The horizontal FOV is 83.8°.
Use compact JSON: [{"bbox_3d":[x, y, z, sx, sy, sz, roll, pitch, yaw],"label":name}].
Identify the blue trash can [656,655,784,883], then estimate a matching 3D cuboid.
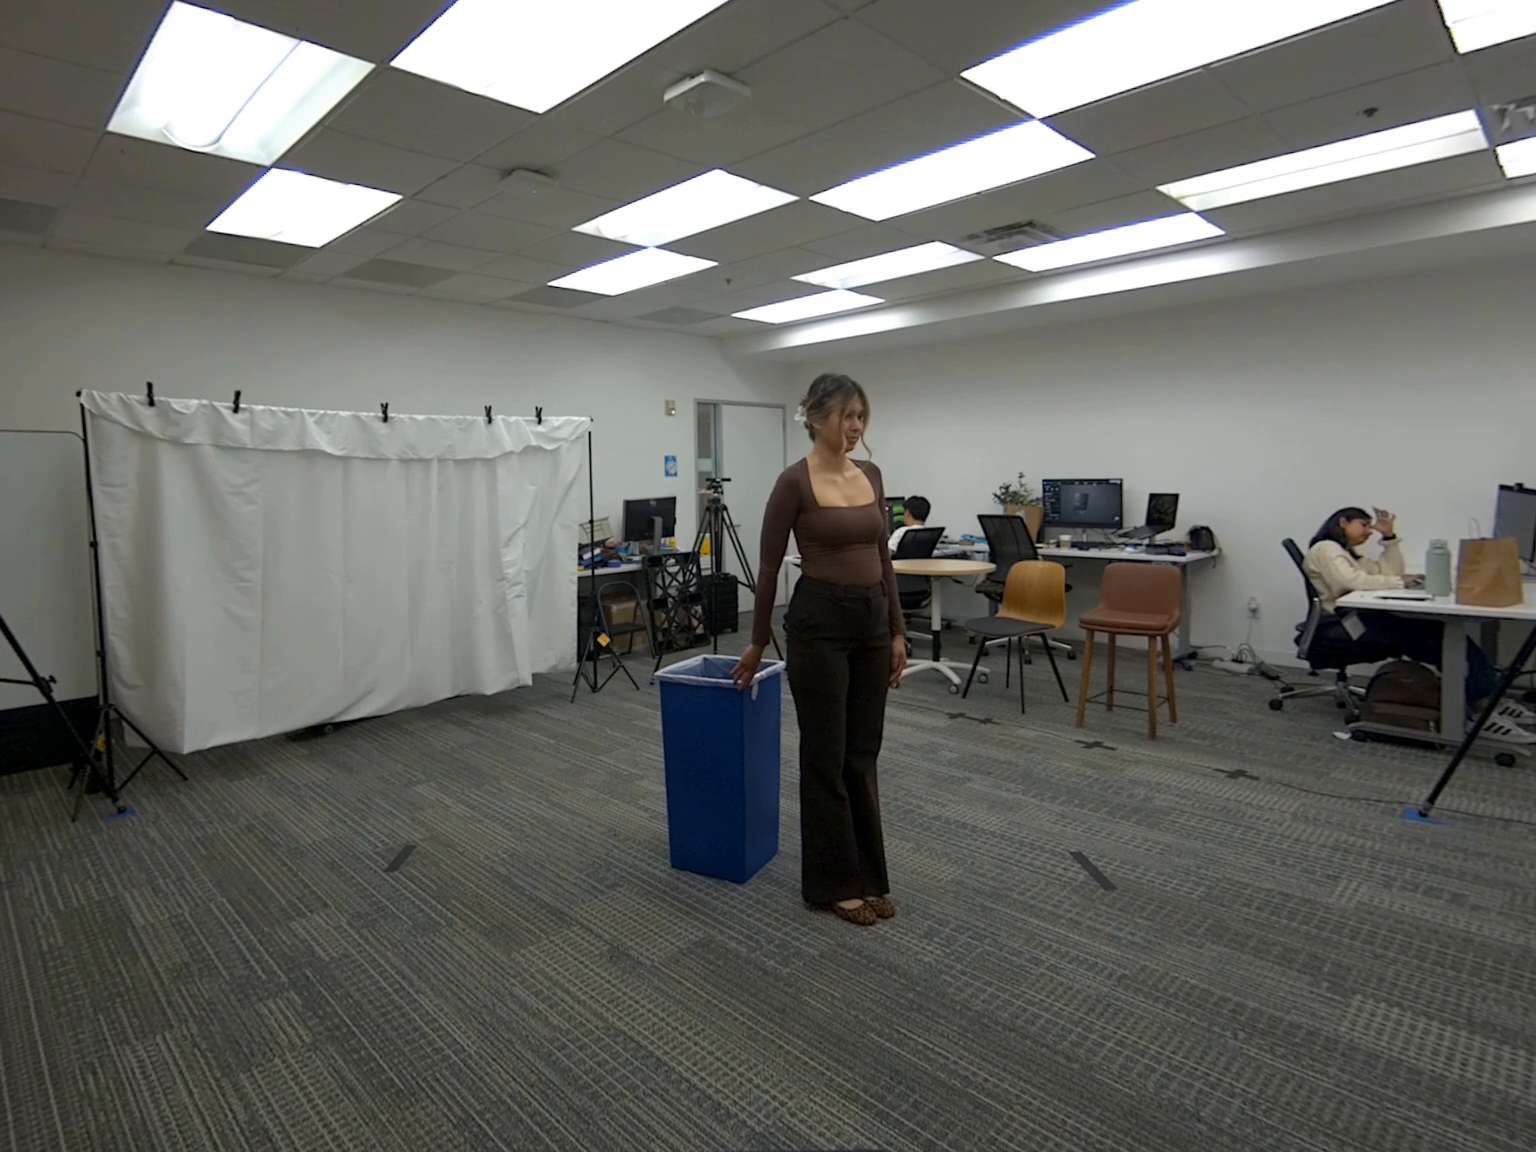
[{"bbox_3d":[-0.157,0.682,3.115,0.387,0.712,0.366,1,3,26],"label":"blue trash can"}]
